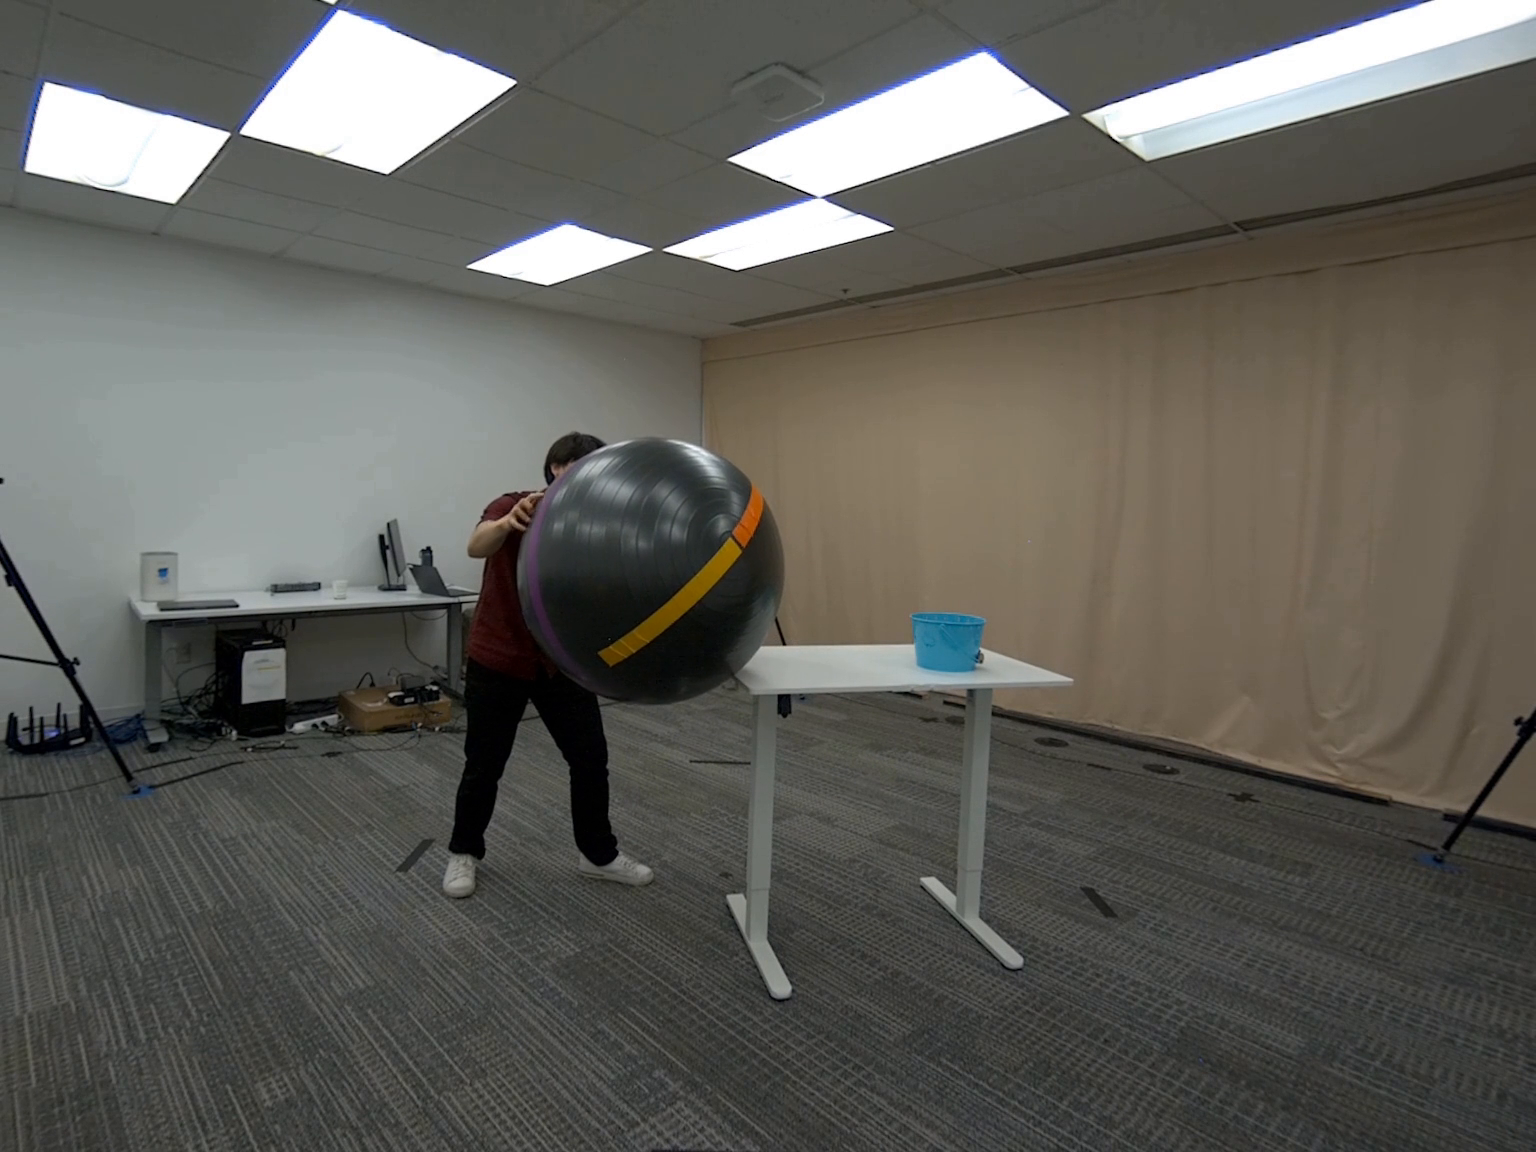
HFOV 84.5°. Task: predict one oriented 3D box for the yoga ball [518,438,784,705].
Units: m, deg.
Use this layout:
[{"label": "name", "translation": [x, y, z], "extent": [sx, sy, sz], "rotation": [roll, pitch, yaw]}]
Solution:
[{"label": "yoga ball", "translation": [-0.334, -0.007, 2.407], "extent": [0.757, 0.756, 0.760], "rotation": [1, 4, -1]}]
